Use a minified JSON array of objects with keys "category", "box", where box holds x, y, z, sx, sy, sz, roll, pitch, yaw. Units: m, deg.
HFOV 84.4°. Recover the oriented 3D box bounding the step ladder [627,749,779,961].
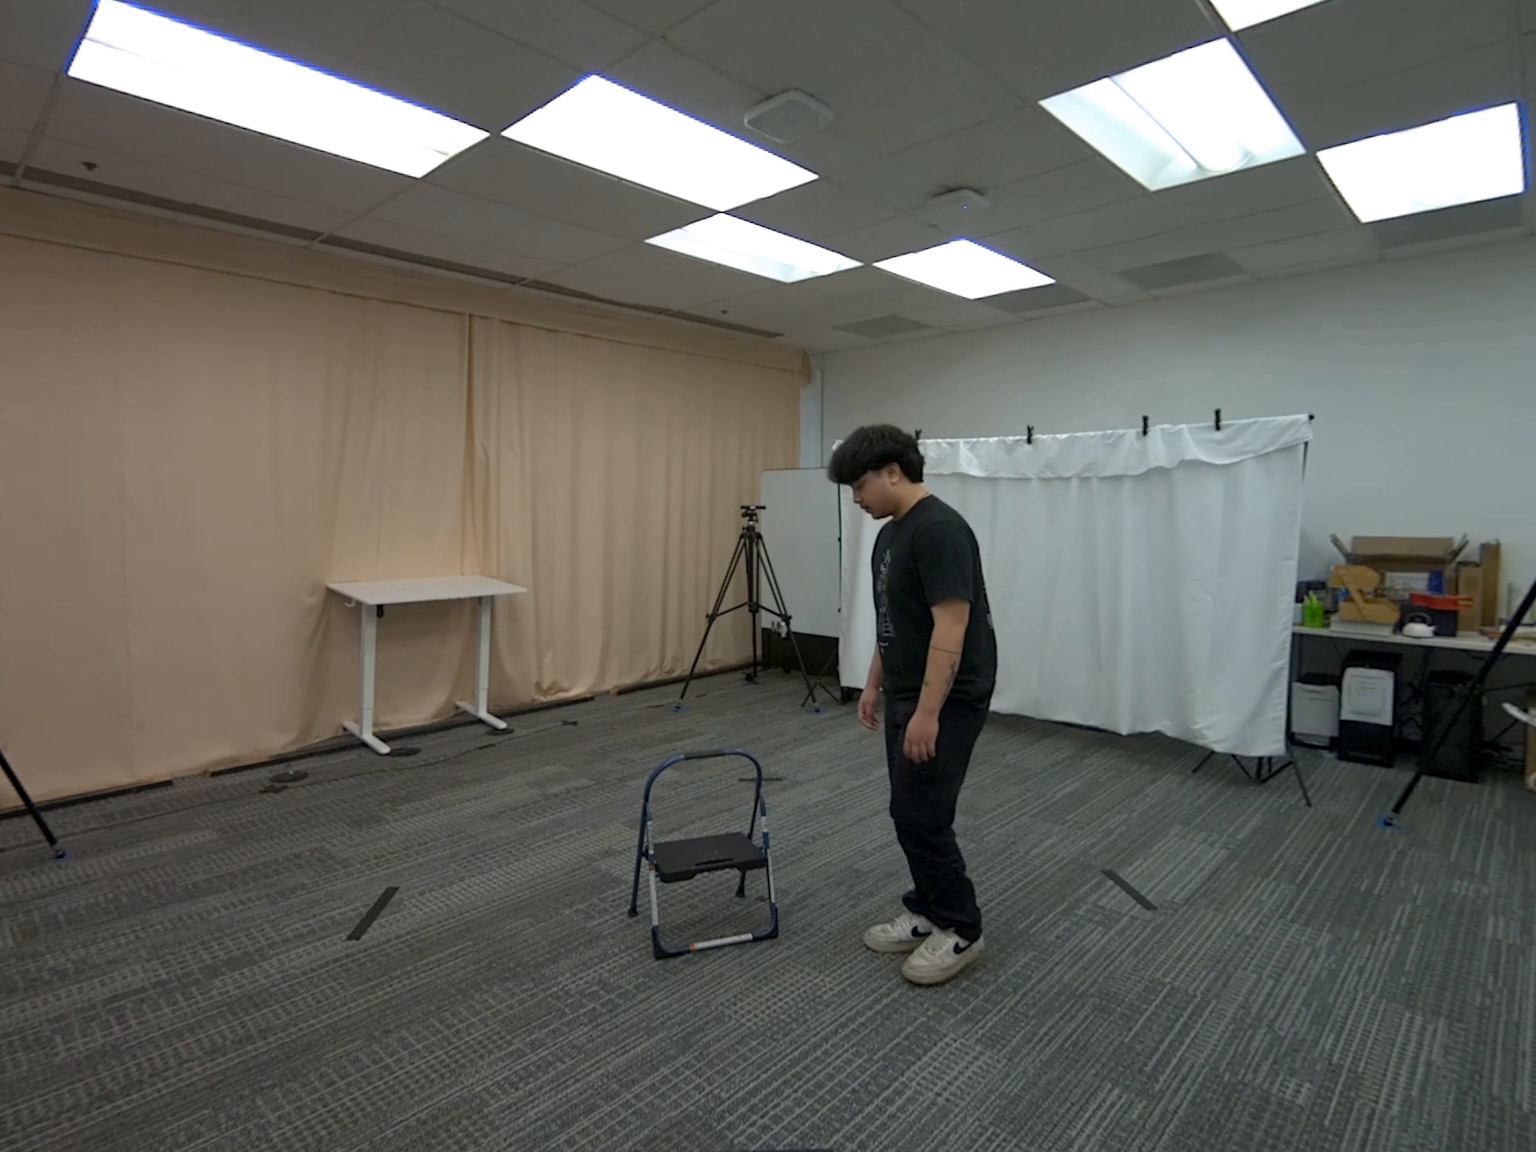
[{"category":"step ladder","box":[-0.219,0.855,2.789,0.421,0.605,0.357,-1,4,-22]}]
